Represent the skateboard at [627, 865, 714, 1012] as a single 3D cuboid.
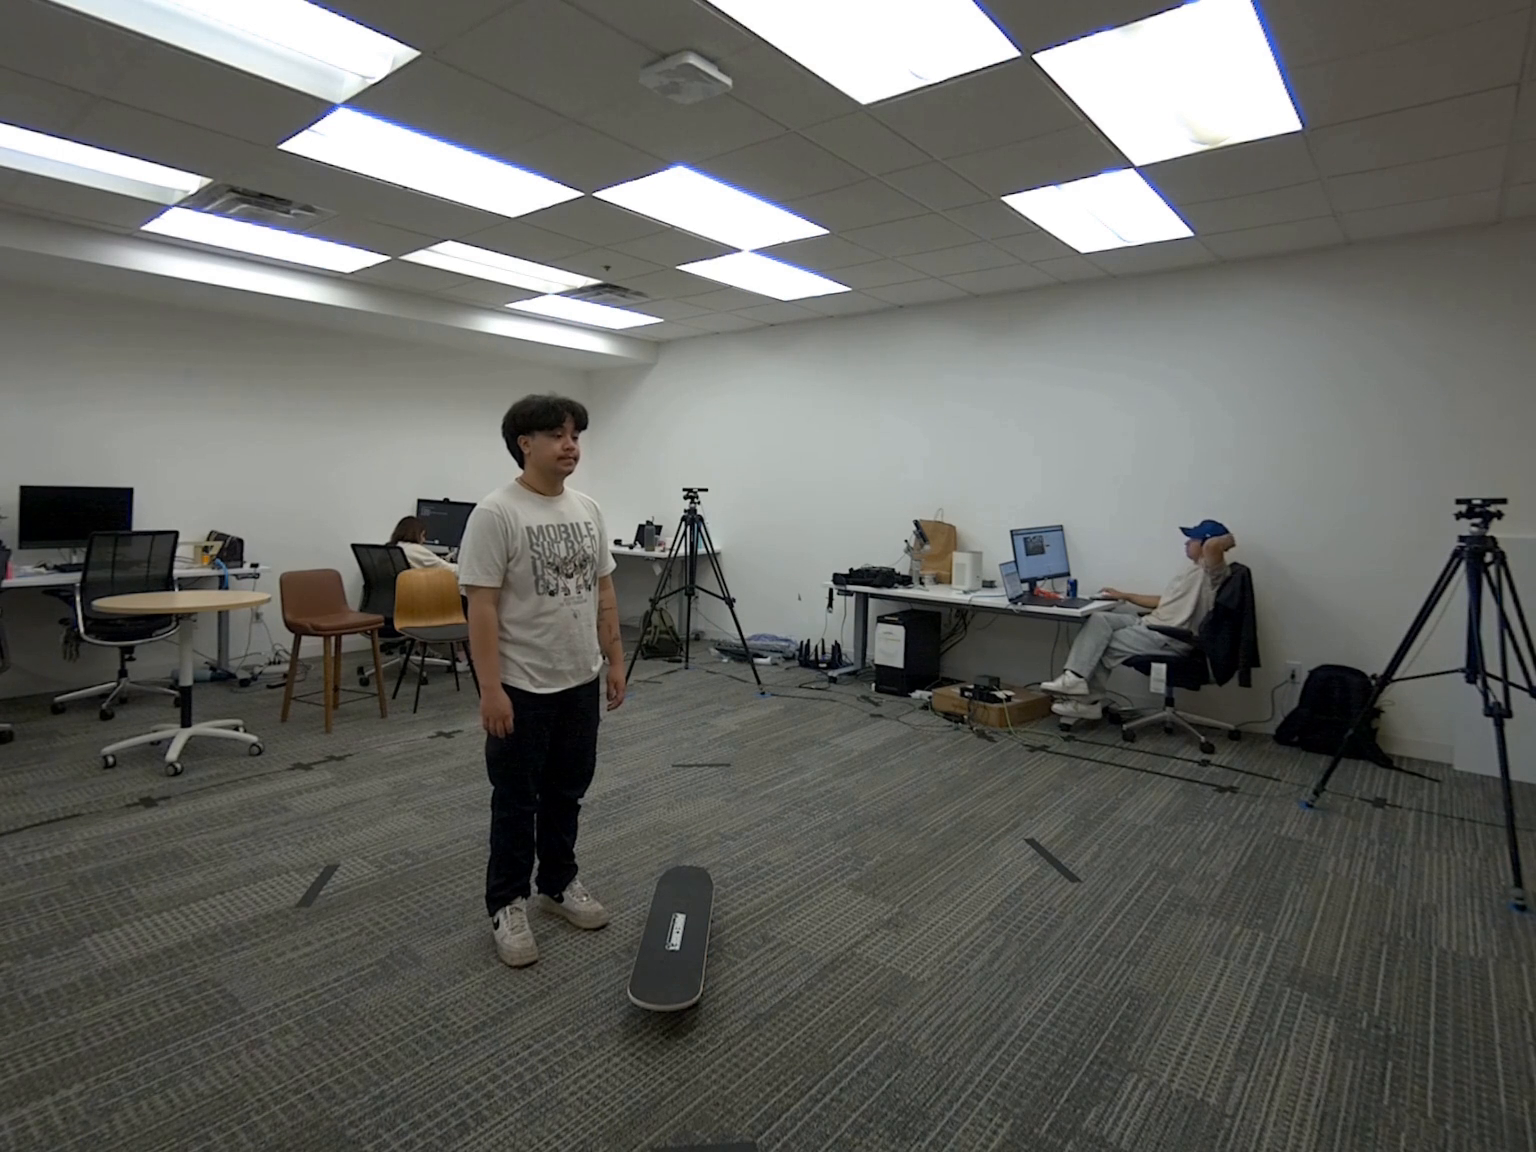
[{"bbox_3d":[-0.277,1.072,2.497,0.194,0.110,0.787,1,6,0],"label":"skateboard"}]
